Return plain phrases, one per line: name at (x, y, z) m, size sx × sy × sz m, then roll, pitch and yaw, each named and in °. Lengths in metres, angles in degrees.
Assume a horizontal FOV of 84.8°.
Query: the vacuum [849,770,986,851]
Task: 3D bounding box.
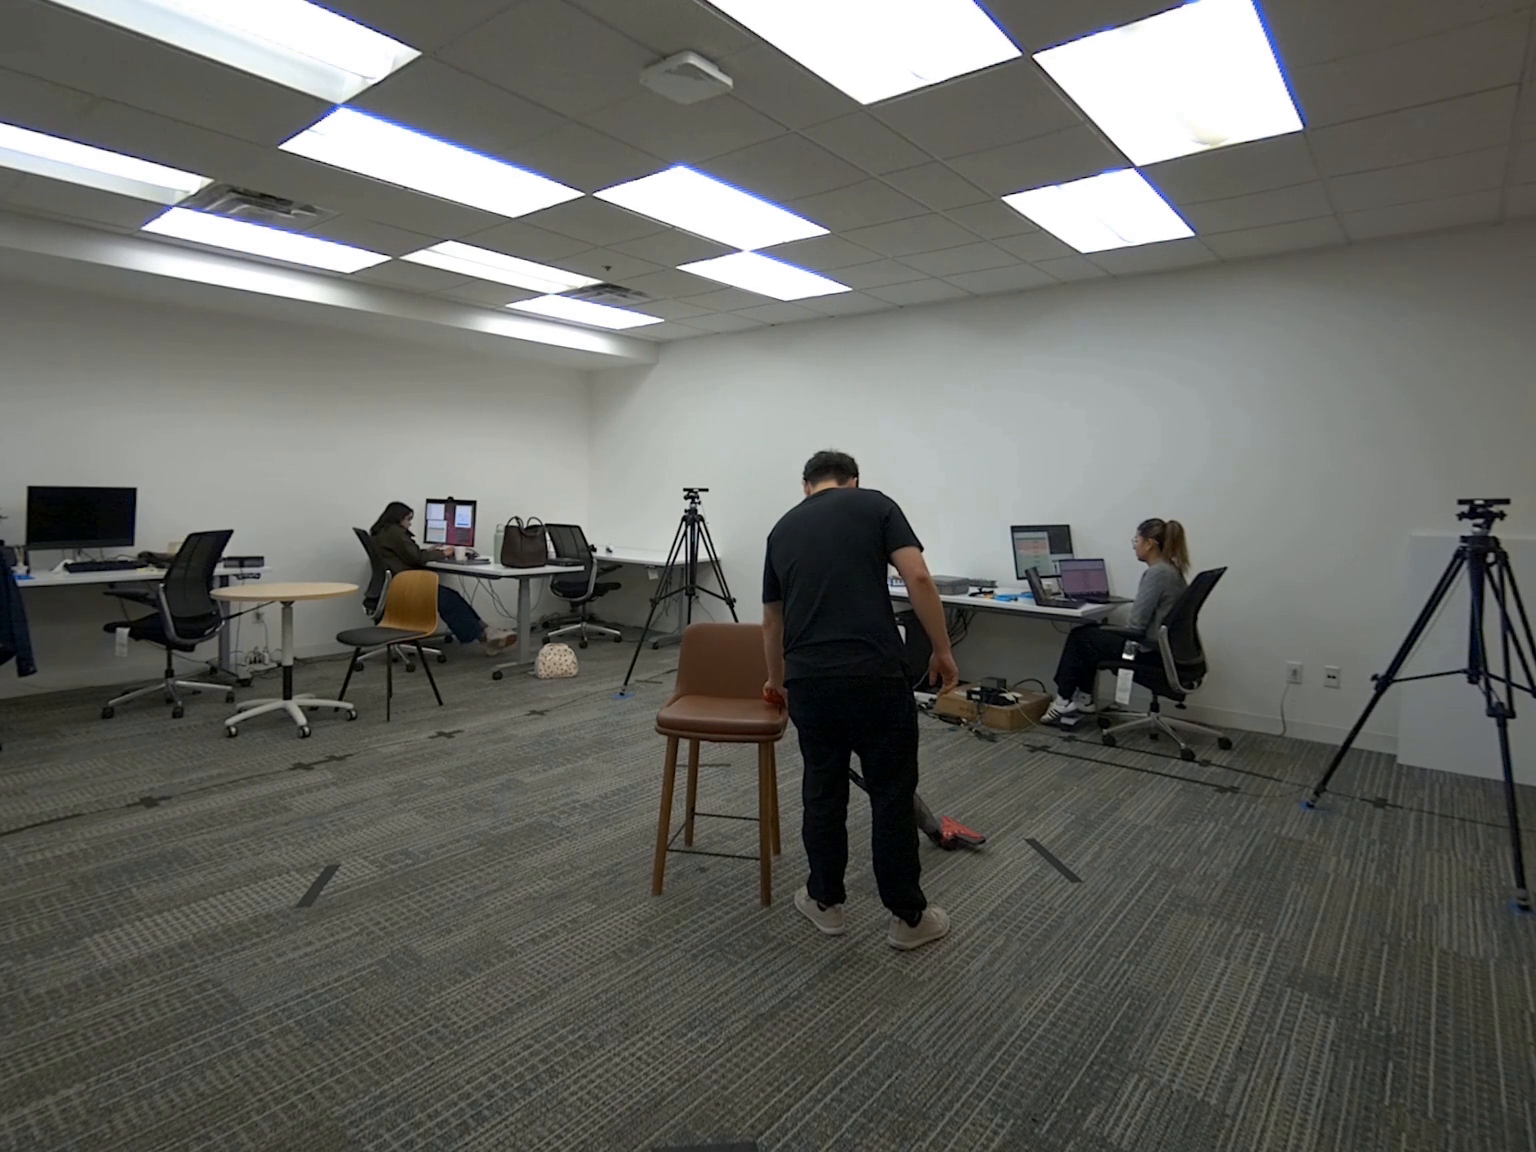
vacuum at (0.368, 0.734, 3.221) m, size 1.019 × 0.144 × 0.259 m, roll 40°, pitch -12°, yaw -22°
